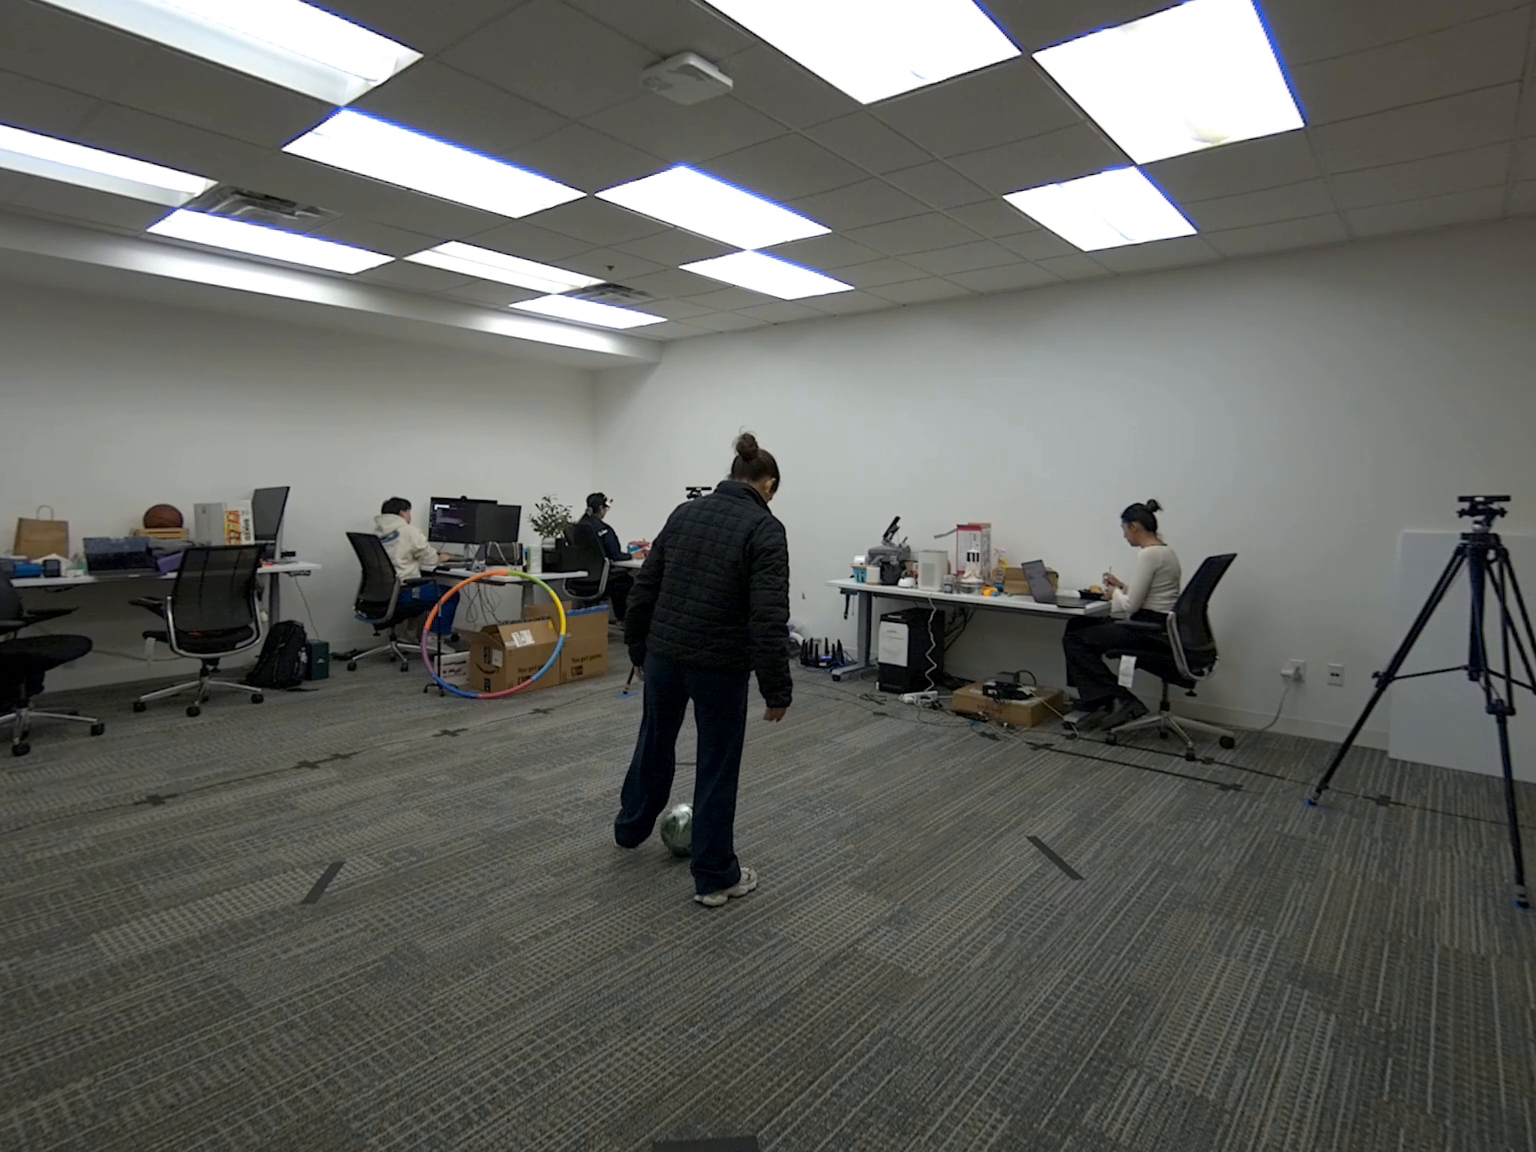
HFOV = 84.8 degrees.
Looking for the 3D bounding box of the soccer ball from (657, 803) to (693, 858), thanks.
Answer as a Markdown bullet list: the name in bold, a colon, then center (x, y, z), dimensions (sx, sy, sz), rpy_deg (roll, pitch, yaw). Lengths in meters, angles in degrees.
- **soccer ball**: center (-0.318, 0.955, 3.227), dimensions (0.187, 0.187, 0.188), rpy_deg (1, 4, -2)
